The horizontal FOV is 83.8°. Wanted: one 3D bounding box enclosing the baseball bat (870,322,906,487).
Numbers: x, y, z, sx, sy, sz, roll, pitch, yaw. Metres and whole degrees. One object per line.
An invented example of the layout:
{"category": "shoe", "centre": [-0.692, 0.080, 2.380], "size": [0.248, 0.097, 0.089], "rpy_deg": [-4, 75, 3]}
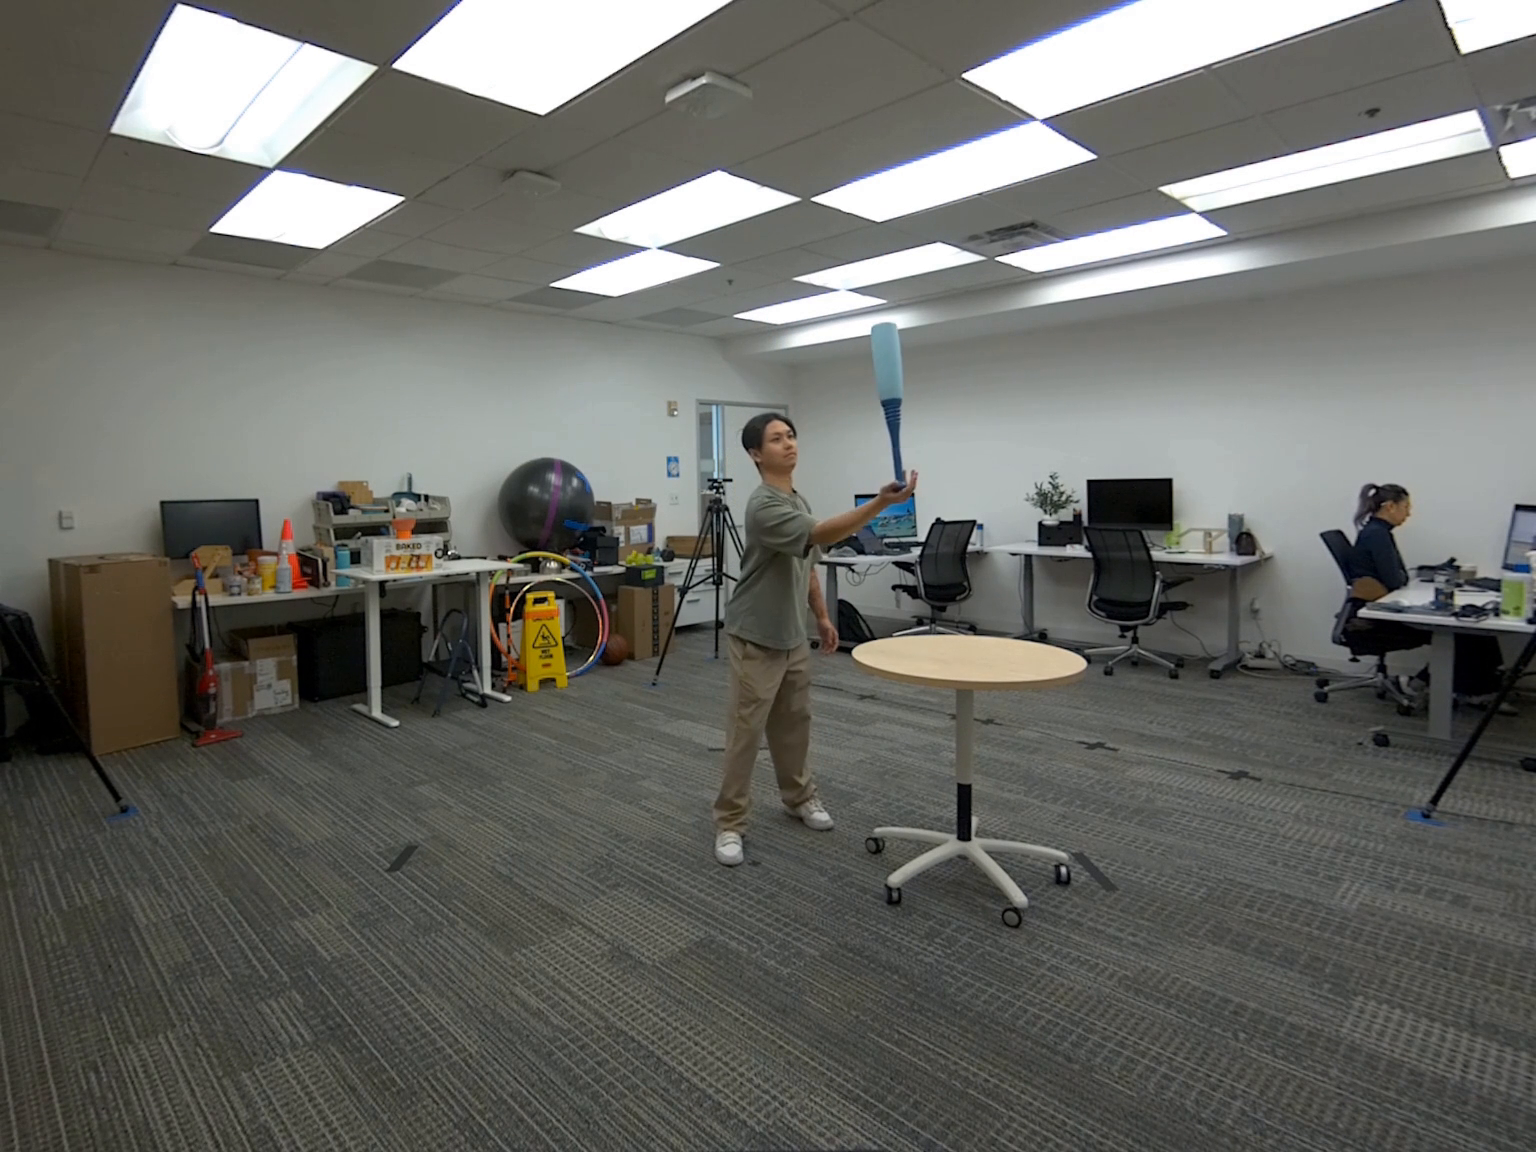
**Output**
{"category": "baseball bat", "centre": [0.393, -0.540, 2.722], "size": [0.089, 0.545, 0.089], "rpy_deg": [-4, -4, -2]}
